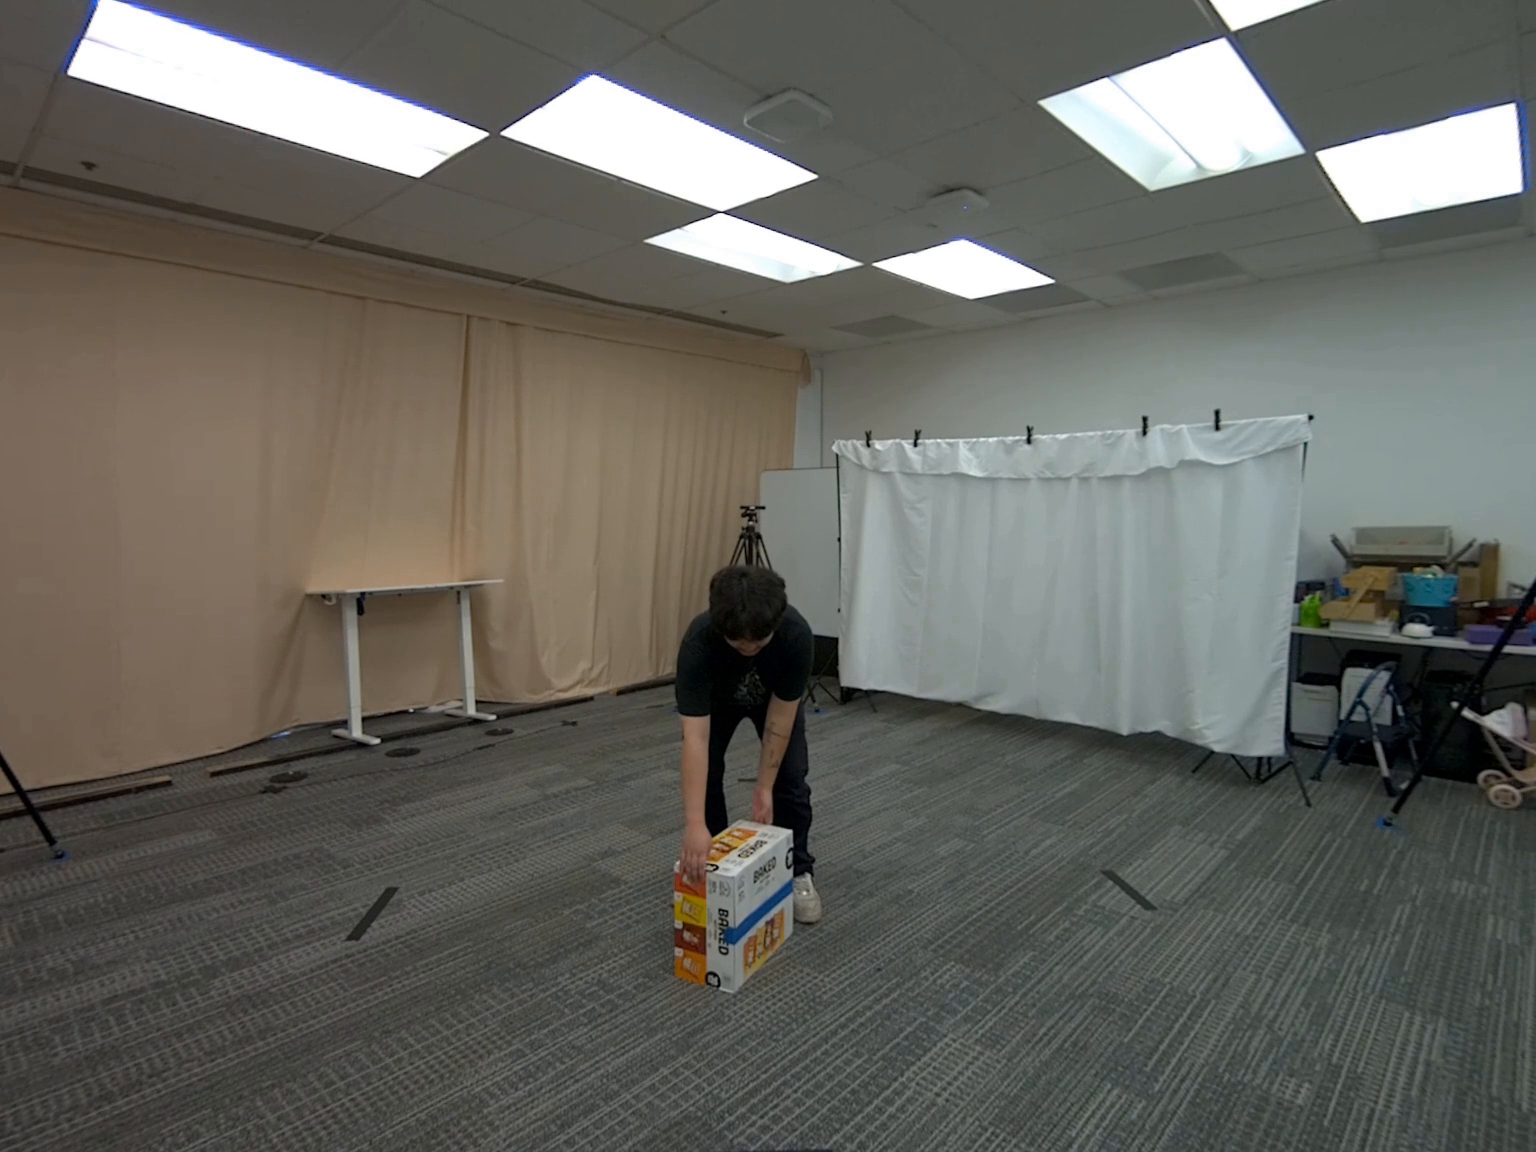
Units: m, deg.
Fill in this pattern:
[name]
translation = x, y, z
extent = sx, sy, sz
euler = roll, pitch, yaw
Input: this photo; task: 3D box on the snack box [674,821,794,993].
[snack box]
translation = -0.095, 1.001, 2.617
extent = 0.211, 0.340, 0.394
euler = 1, 3, 28
